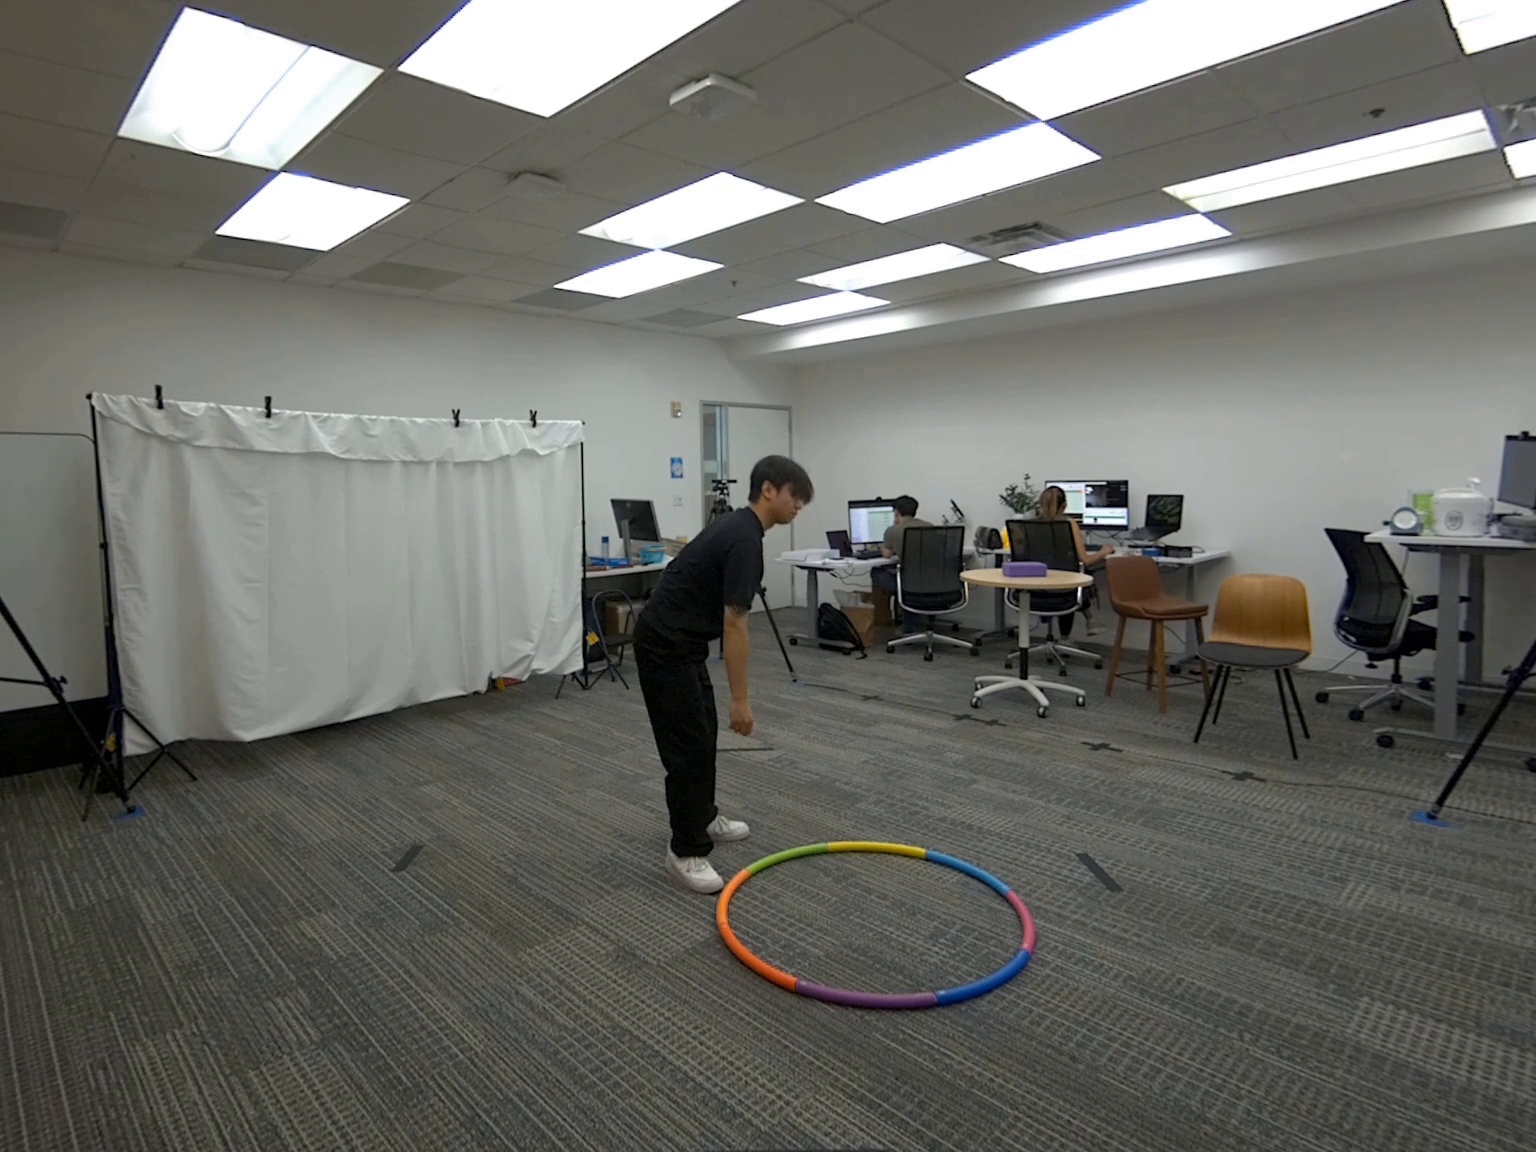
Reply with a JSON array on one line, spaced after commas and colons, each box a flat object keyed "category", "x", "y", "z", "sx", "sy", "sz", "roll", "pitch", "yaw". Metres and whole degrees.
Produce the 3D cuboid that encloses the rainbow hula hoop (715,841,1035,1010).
[{"category": "rainbow hula hoop", "x": 0.327, "y": 1.058, "z": 2.727, "sx": 0.978, "sy": 0.035, "sz": 0.984, "roll": -2, "pitch": 7, "yaw": -2}]
